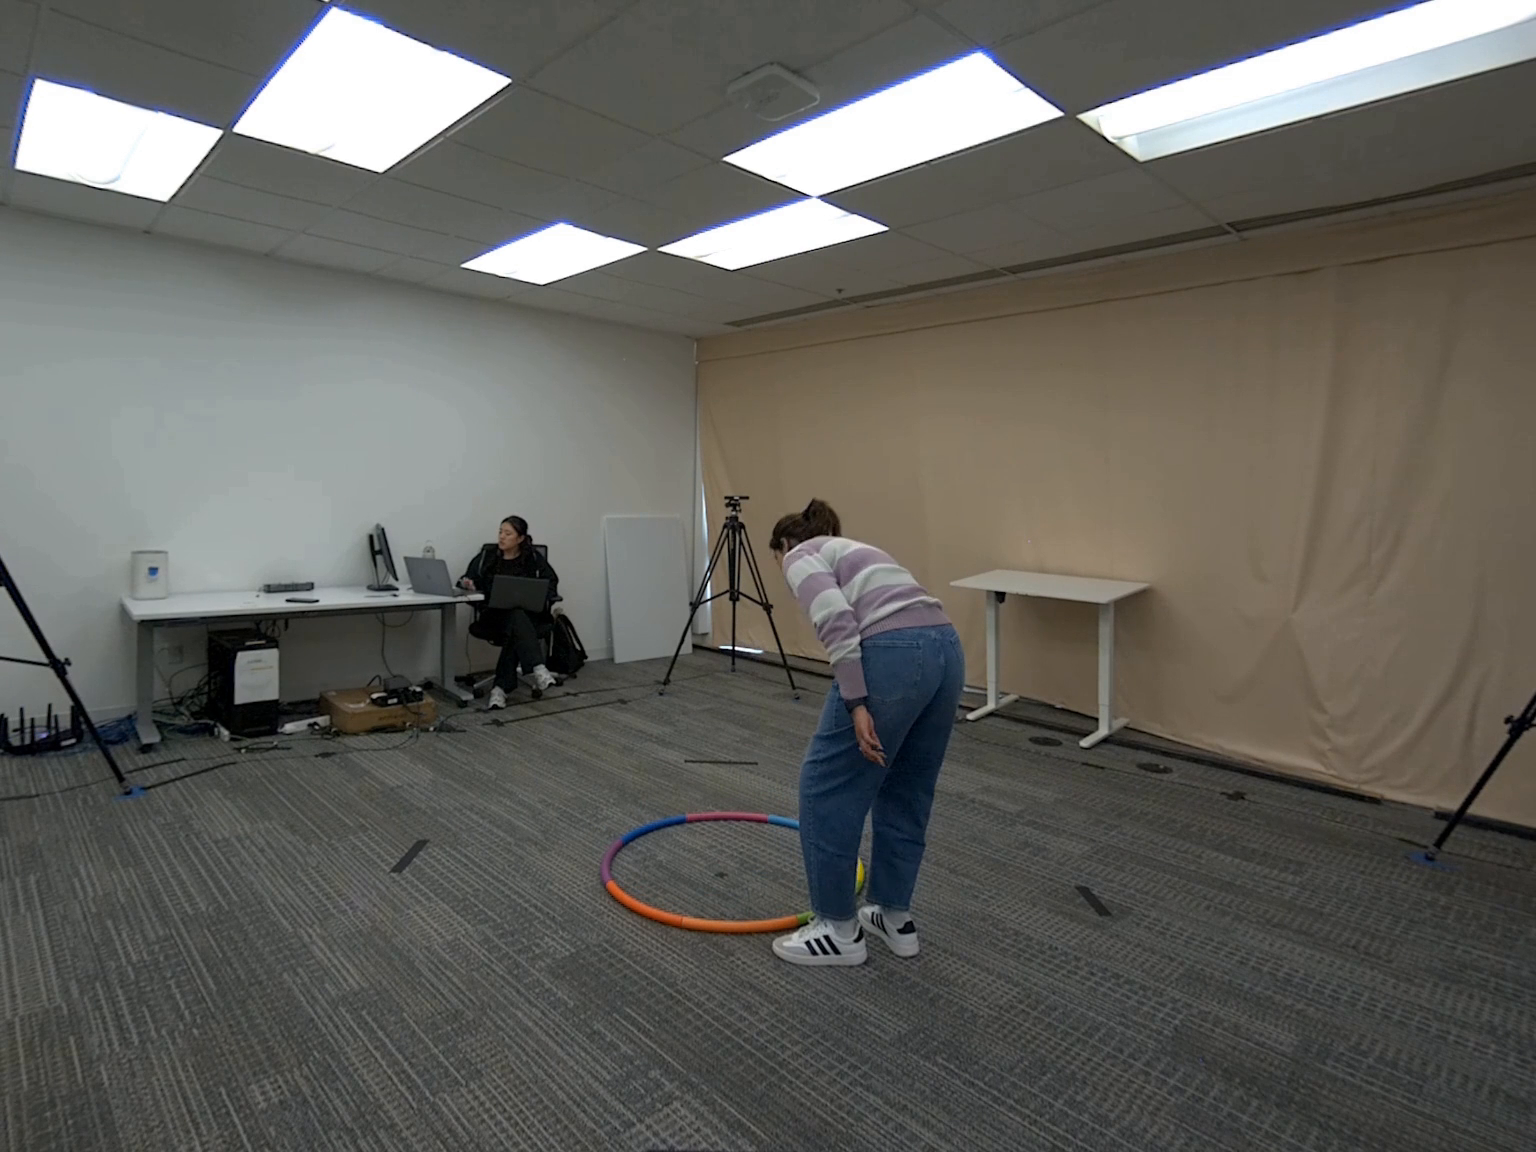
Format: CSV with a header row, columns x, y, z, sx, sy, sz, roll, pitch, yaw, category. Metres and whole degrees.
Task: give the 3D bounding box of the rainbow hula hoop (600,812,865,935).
x,y,z,sx,sy,sz,roll,pitch,yaw,category
-0.134,1.072,3.172,0.985,0.051,0.989,1,6,-1,rainbow hula hoop
